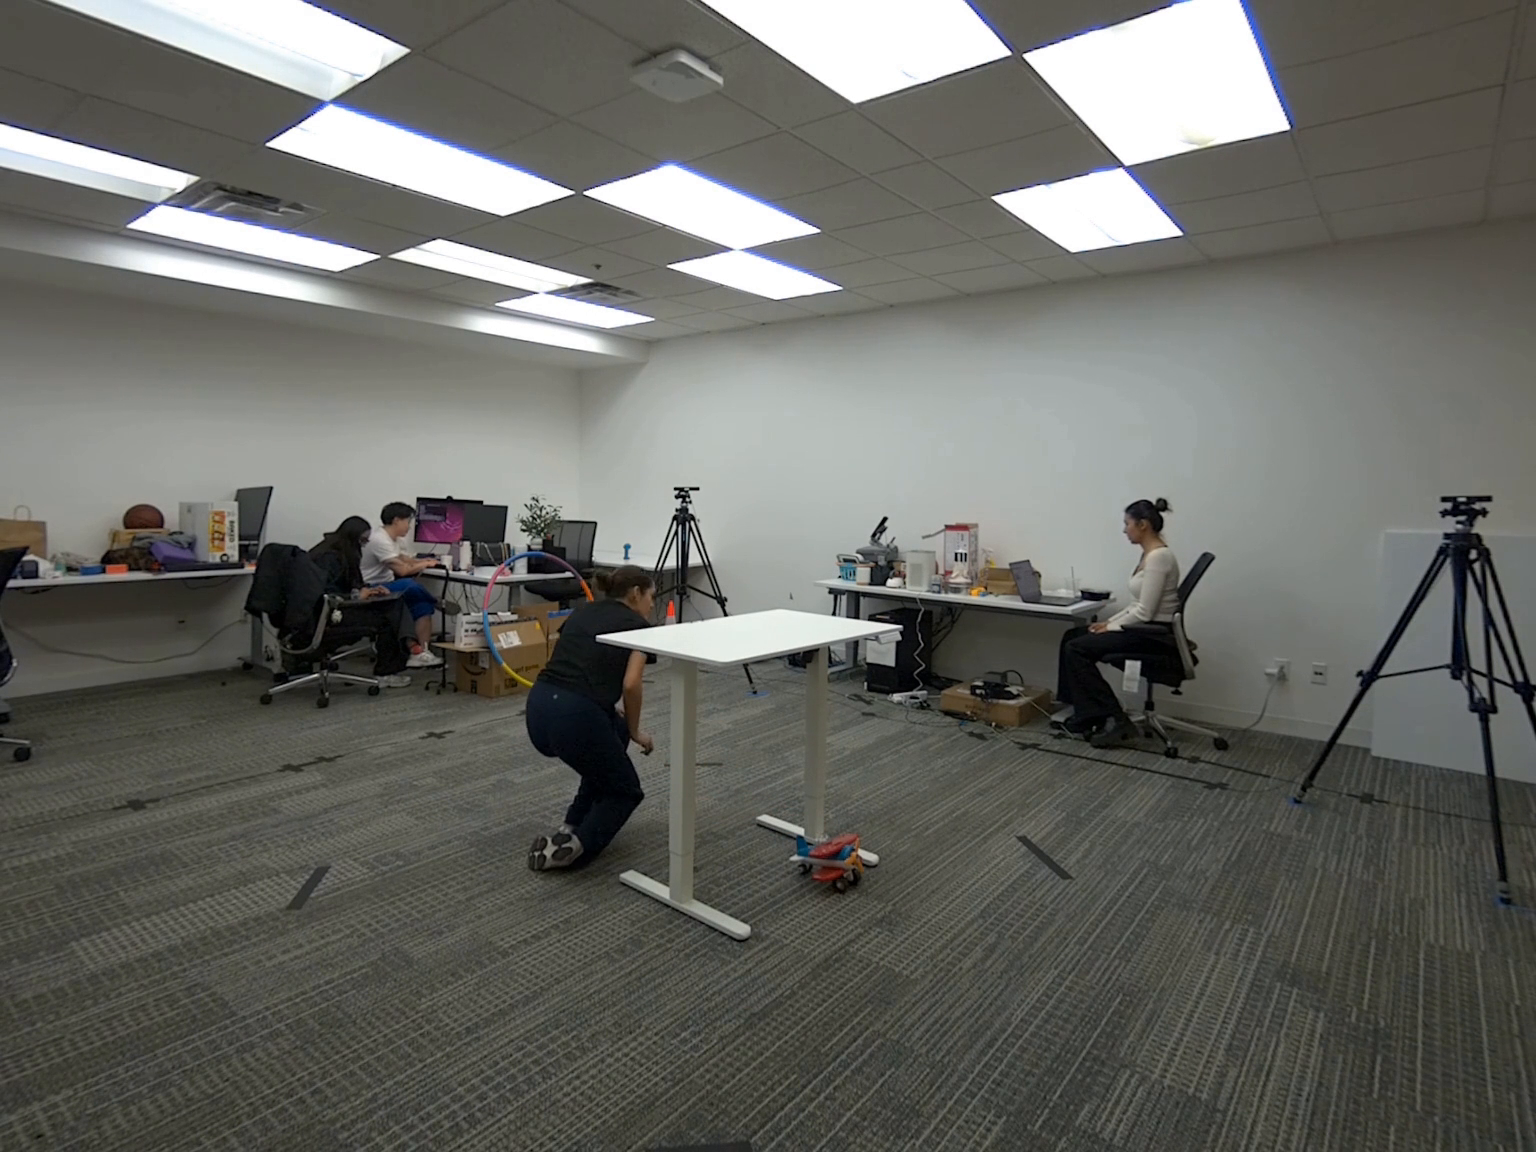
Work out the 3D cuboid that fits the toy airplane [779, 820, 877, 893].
[{"bbox_3d":[0.220,1.010,3.028,0.263,0.156,0.249,4,4,11],"label":"toy airplane"}]
